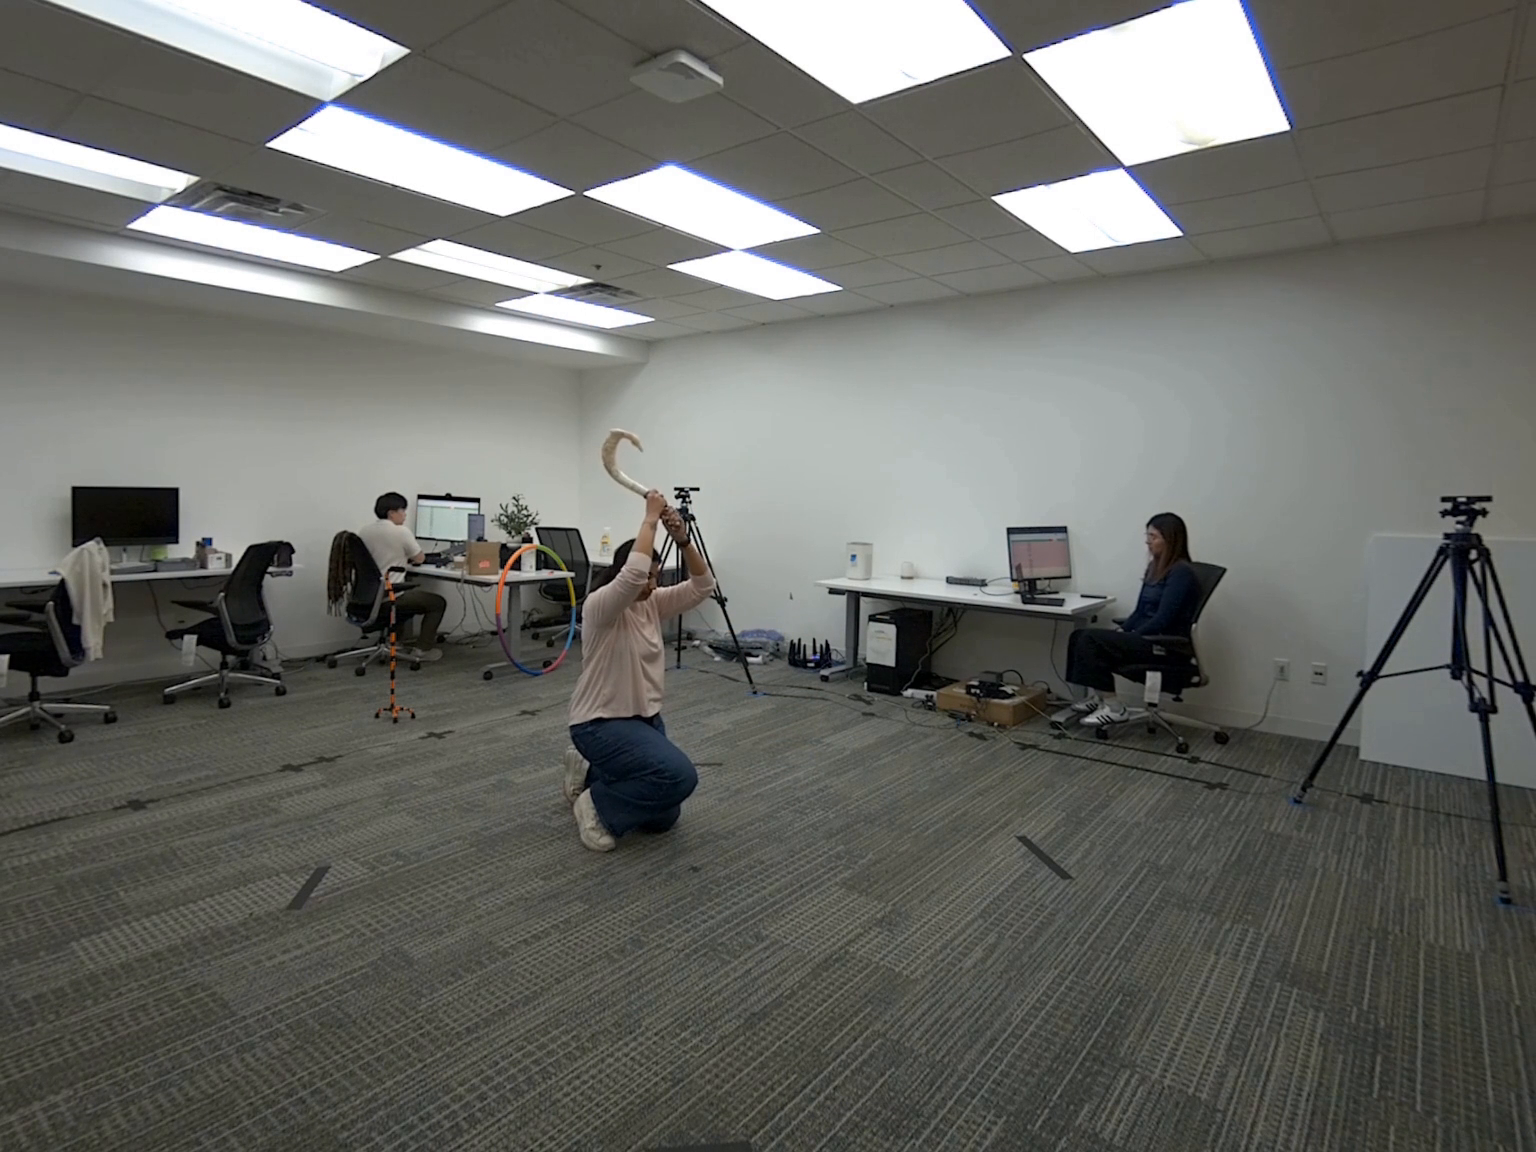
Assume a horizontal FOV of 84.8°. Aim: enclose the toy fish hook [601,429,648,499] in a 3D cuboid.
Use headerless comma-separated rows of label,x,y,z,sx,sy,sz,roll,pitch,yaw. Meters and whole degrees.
toy fish hook,-0.498,-0.391,3.378,0.047,0.222,0.522,-18,56,-47
